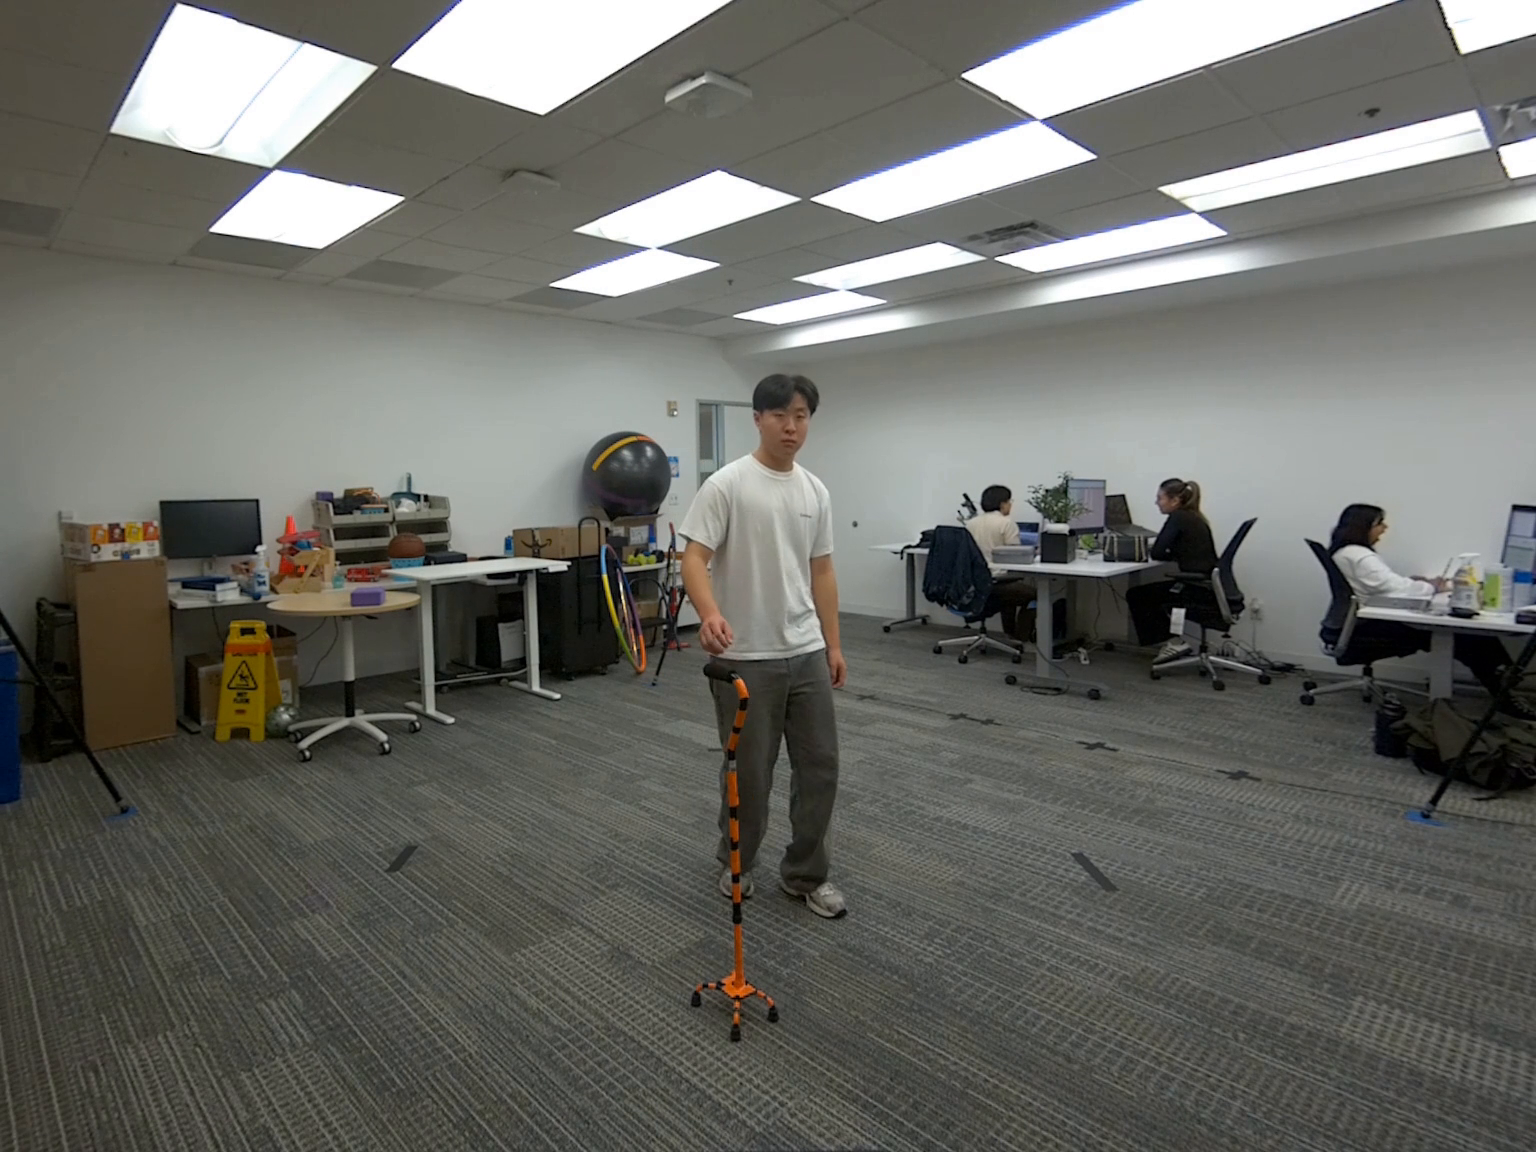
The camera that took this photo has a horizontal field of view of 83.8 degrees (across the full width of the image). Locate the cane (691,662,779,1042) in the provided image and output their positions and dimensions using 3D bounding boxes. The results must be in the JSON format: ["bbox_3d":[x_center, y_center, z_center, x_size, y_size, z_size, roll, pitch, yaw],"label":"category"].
[{"bbox_3d":[-0.097,0.701,2.219,0.148,0.904,0.212,-4,5,-35],"label":"cane"}]
